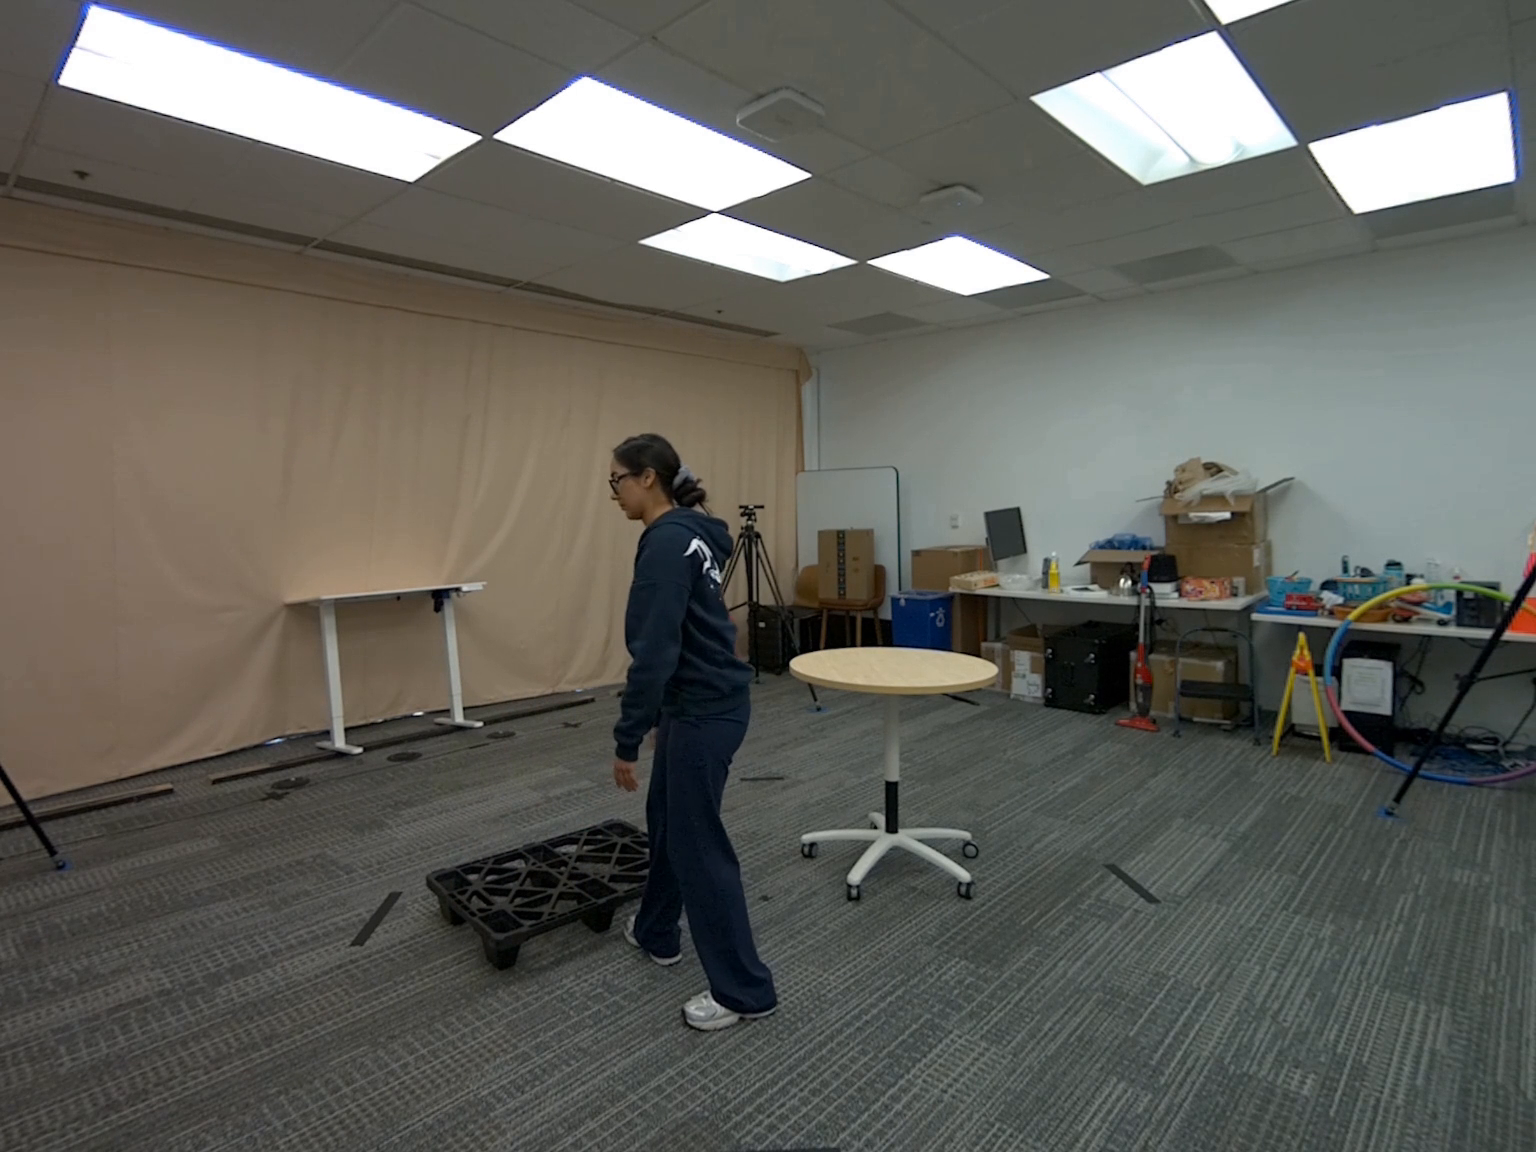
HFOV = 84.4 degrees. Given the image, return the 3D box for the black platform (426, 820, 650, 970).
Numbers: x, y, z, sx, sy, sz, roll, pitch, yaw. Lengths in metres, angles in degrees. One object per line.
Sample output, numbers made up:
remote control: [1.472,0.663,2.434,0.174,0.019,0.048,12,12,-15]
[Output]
black platform: [-0.697,1.095,2.954,0.782,0.143,0.625,-6,7,-40]
